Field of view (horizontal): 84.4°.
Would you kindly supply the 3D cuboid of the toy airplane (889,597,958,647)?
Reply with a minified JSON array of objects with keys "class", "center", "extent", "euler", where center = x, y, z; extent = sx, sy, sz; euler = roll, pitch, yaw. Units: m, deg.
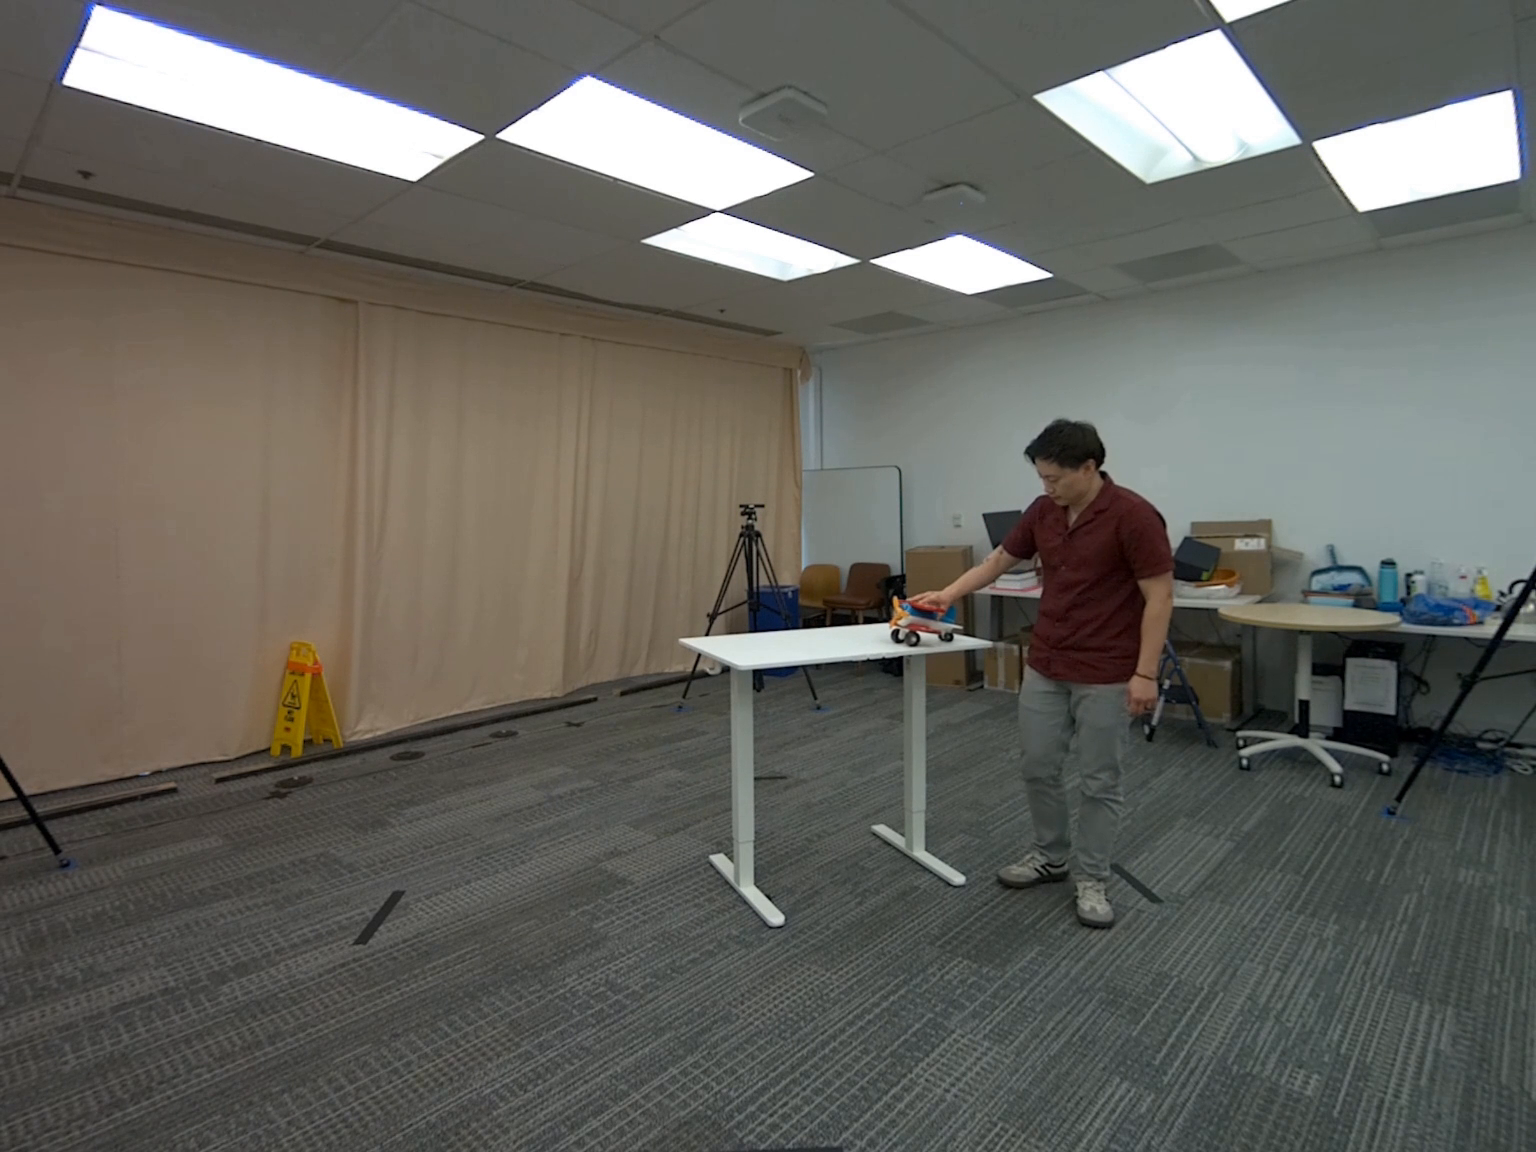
[{"class":"toy airplane","center":[0.564,0.166,3.057],"extent":[0.259,0.156,0.251],"euler":[4,7,40]}]
